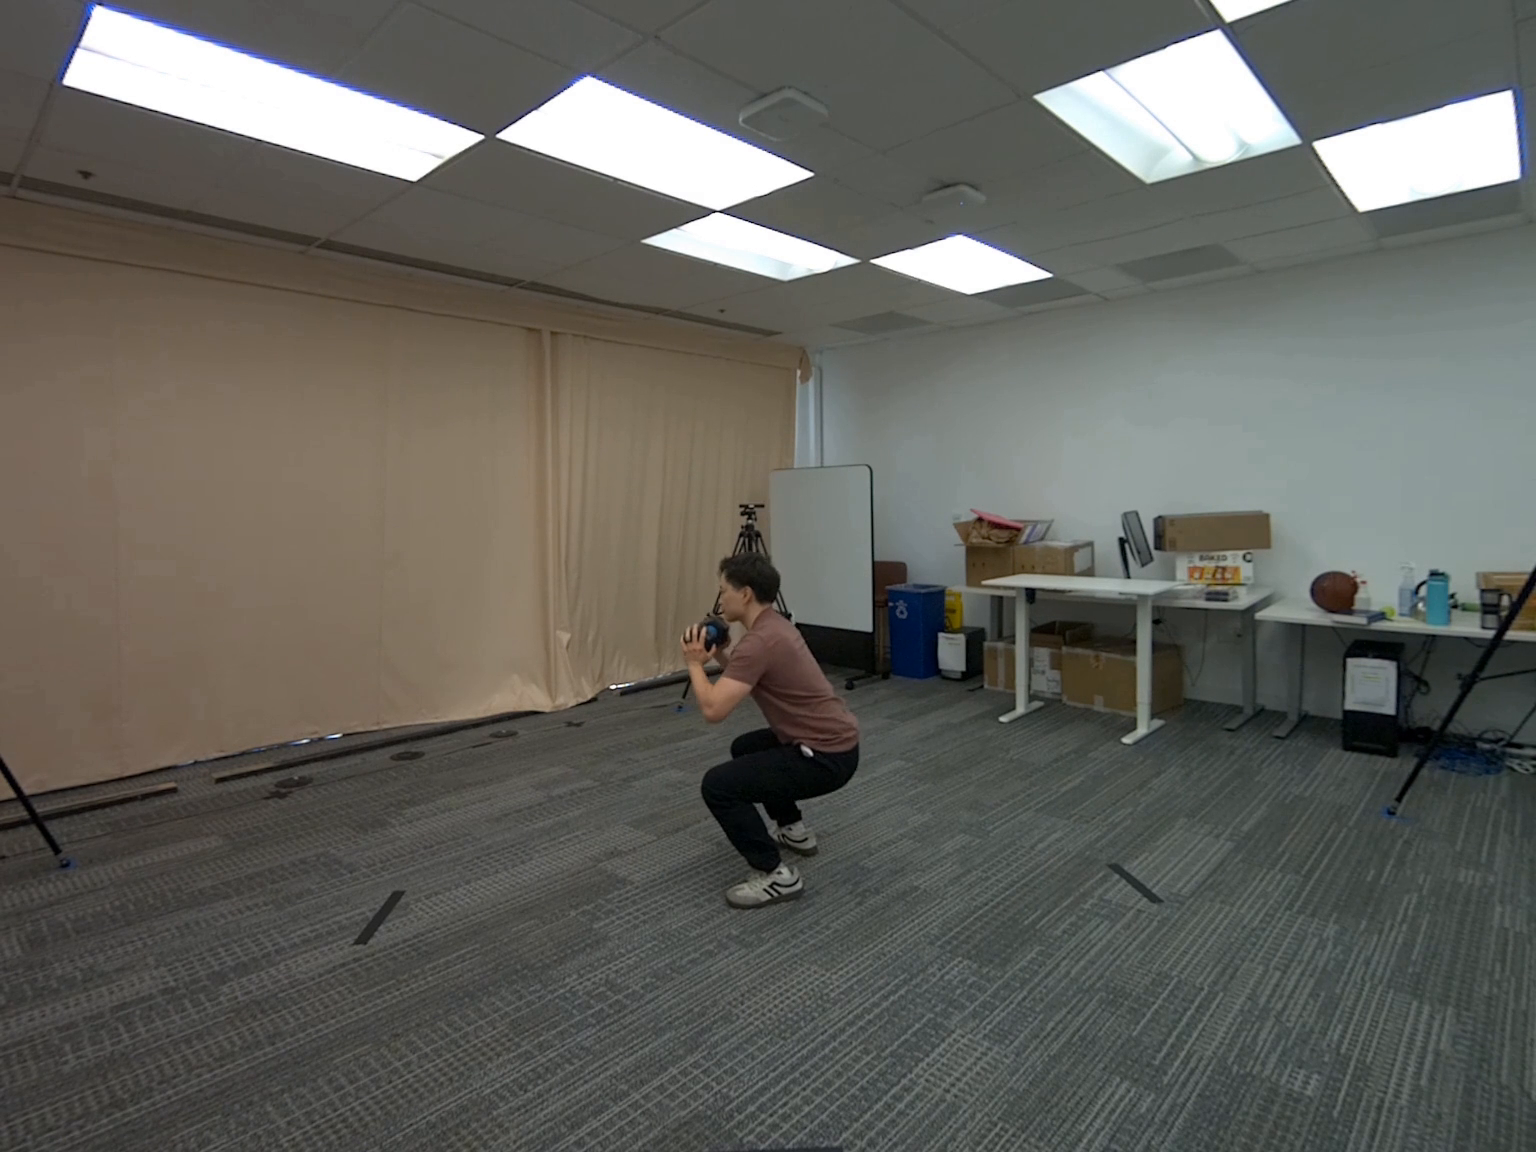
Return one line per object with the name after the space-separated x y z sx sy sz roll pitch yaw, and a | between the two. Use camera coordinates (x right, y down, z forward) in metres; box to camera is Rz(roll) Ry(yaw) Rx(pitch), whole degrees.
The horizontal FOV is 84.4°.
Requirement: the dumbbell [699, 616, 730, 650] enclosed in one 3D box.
-0.228 0.227 3.235 0.124 0.108 0.291 -17 5 14 | dumbbell
